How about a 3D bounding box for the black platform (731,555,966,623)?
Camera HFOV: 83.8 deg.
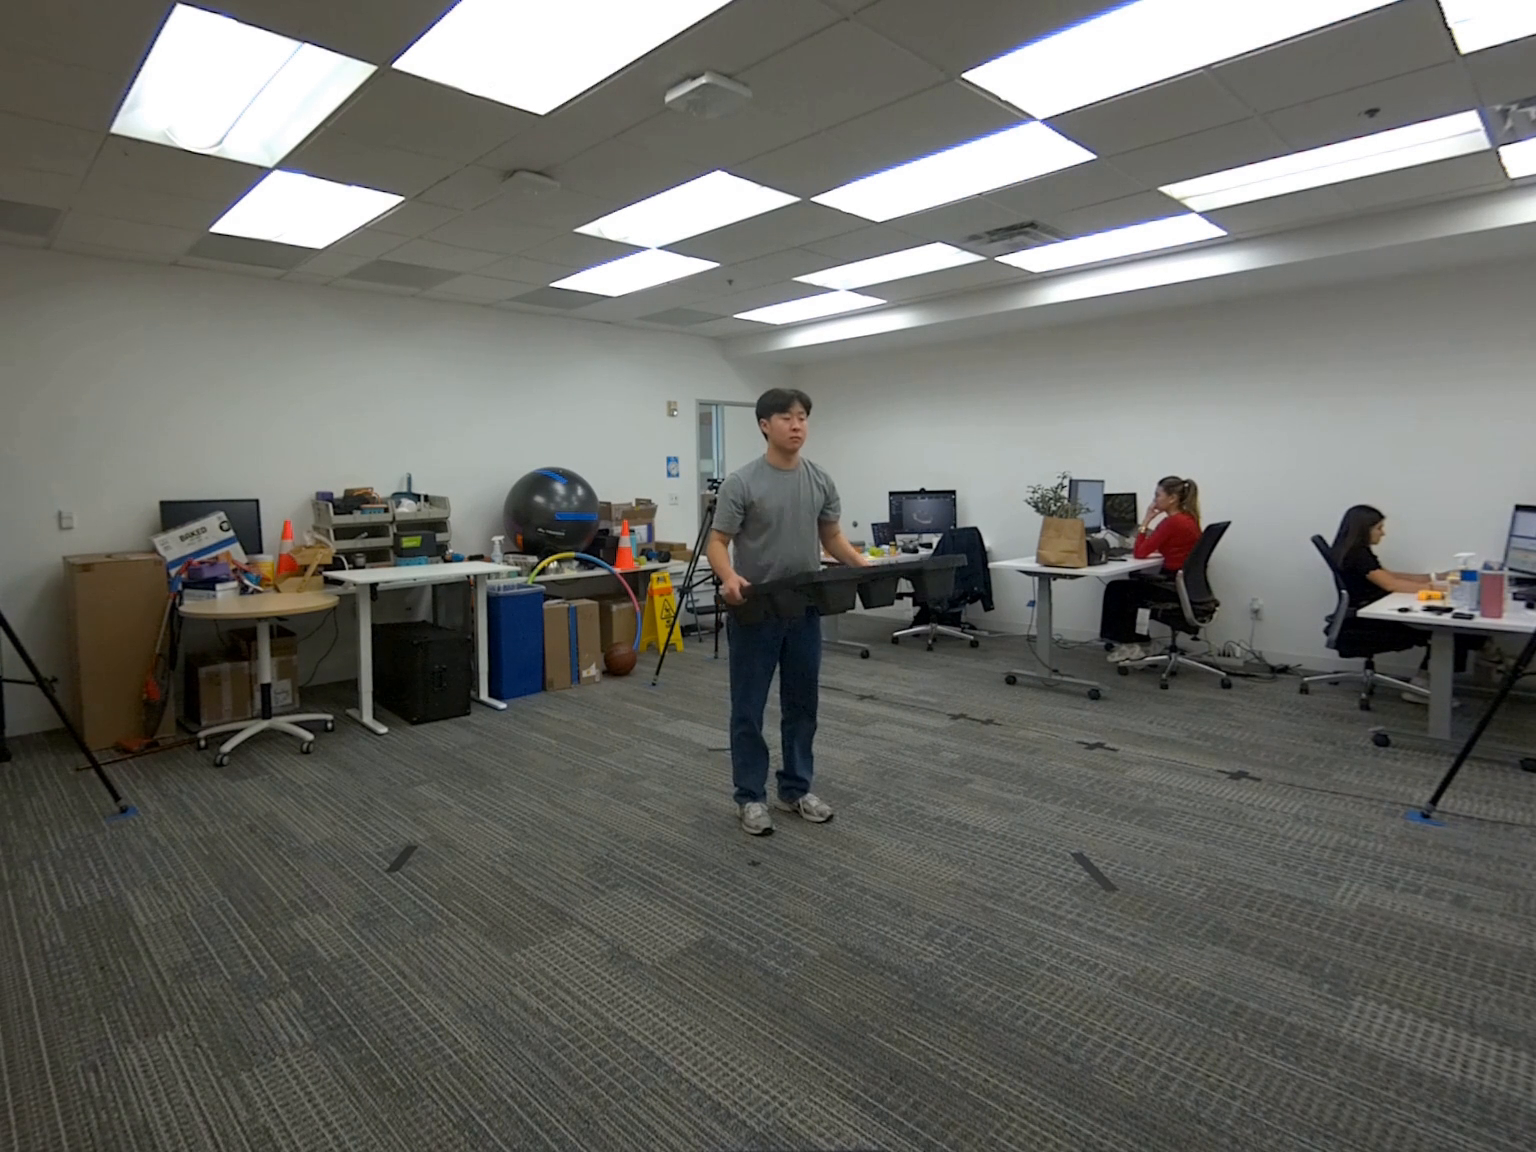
[{"bbox_3d":[0.232,0.070,3.037,0.594,0.144,0.815,-6,-6,-24],"label":"black platform"}]
